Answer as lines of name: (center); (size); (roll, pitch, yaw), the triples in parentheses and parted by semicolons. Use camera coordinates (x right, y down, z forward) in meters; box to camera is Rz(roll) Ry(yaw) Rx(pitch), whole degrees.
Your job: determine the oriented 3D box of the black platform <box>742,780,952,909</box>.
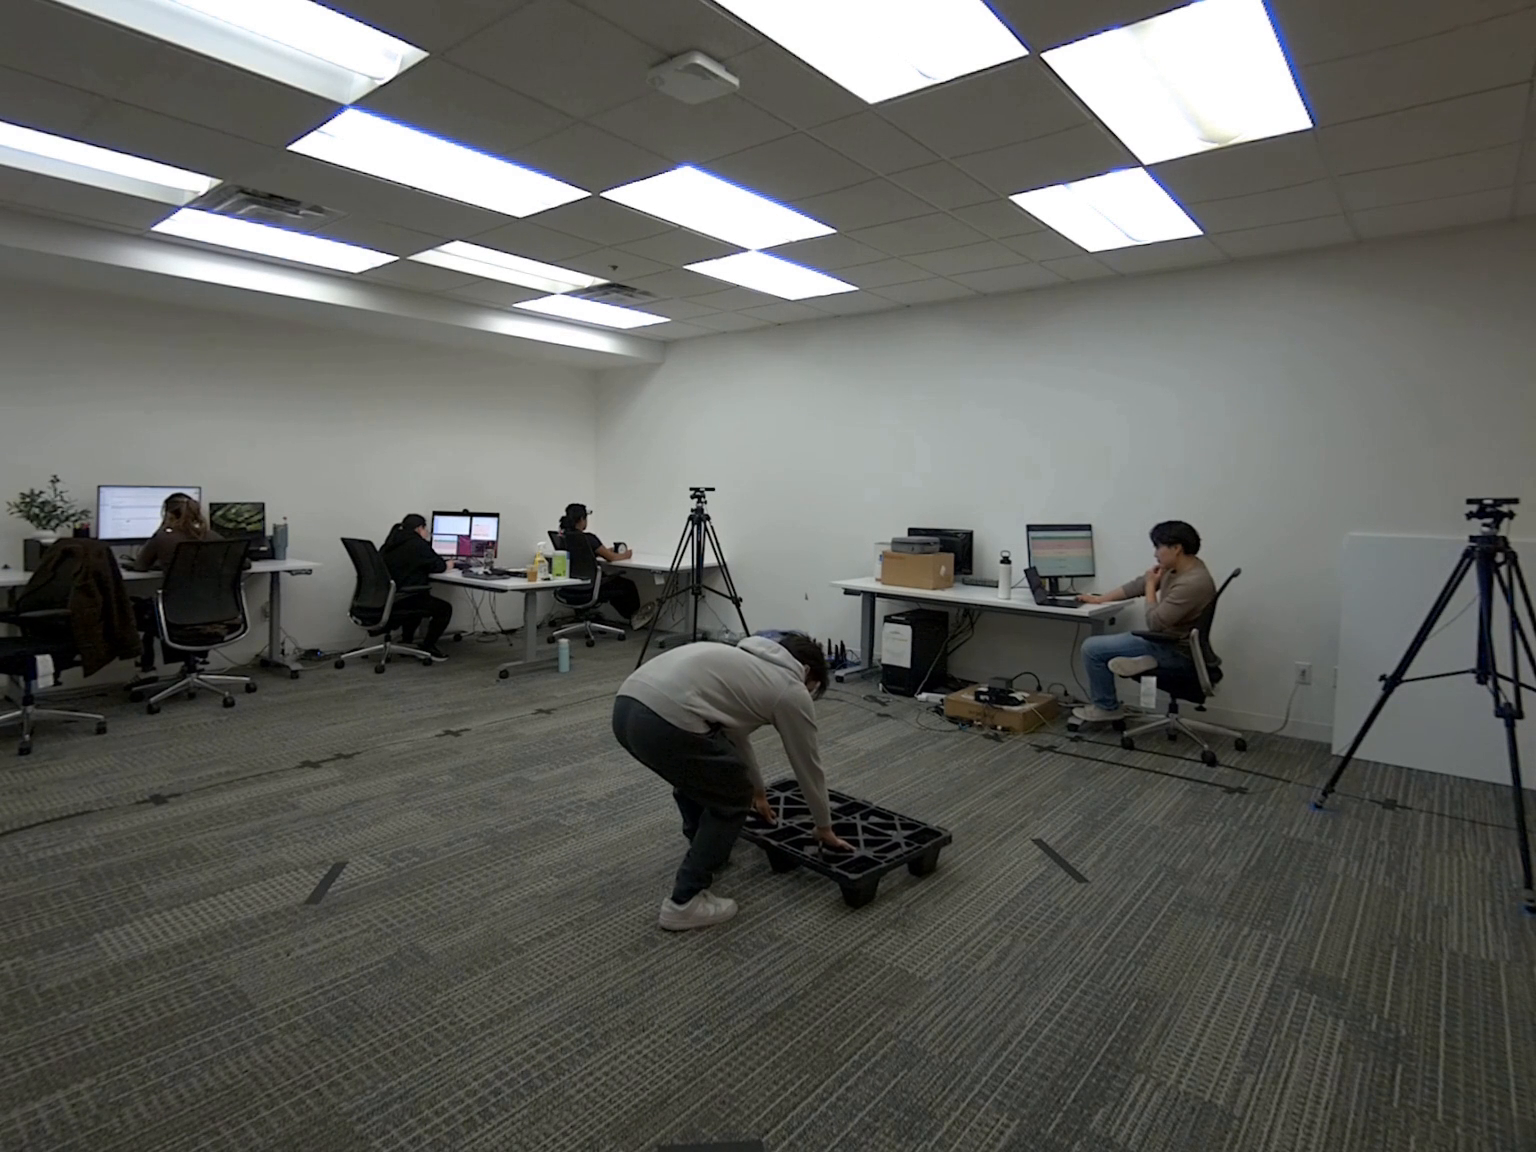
black platform: (0.191, 0.997, 3.249); (0.587, 0.143, 0.833); (-5, 8, -44)
